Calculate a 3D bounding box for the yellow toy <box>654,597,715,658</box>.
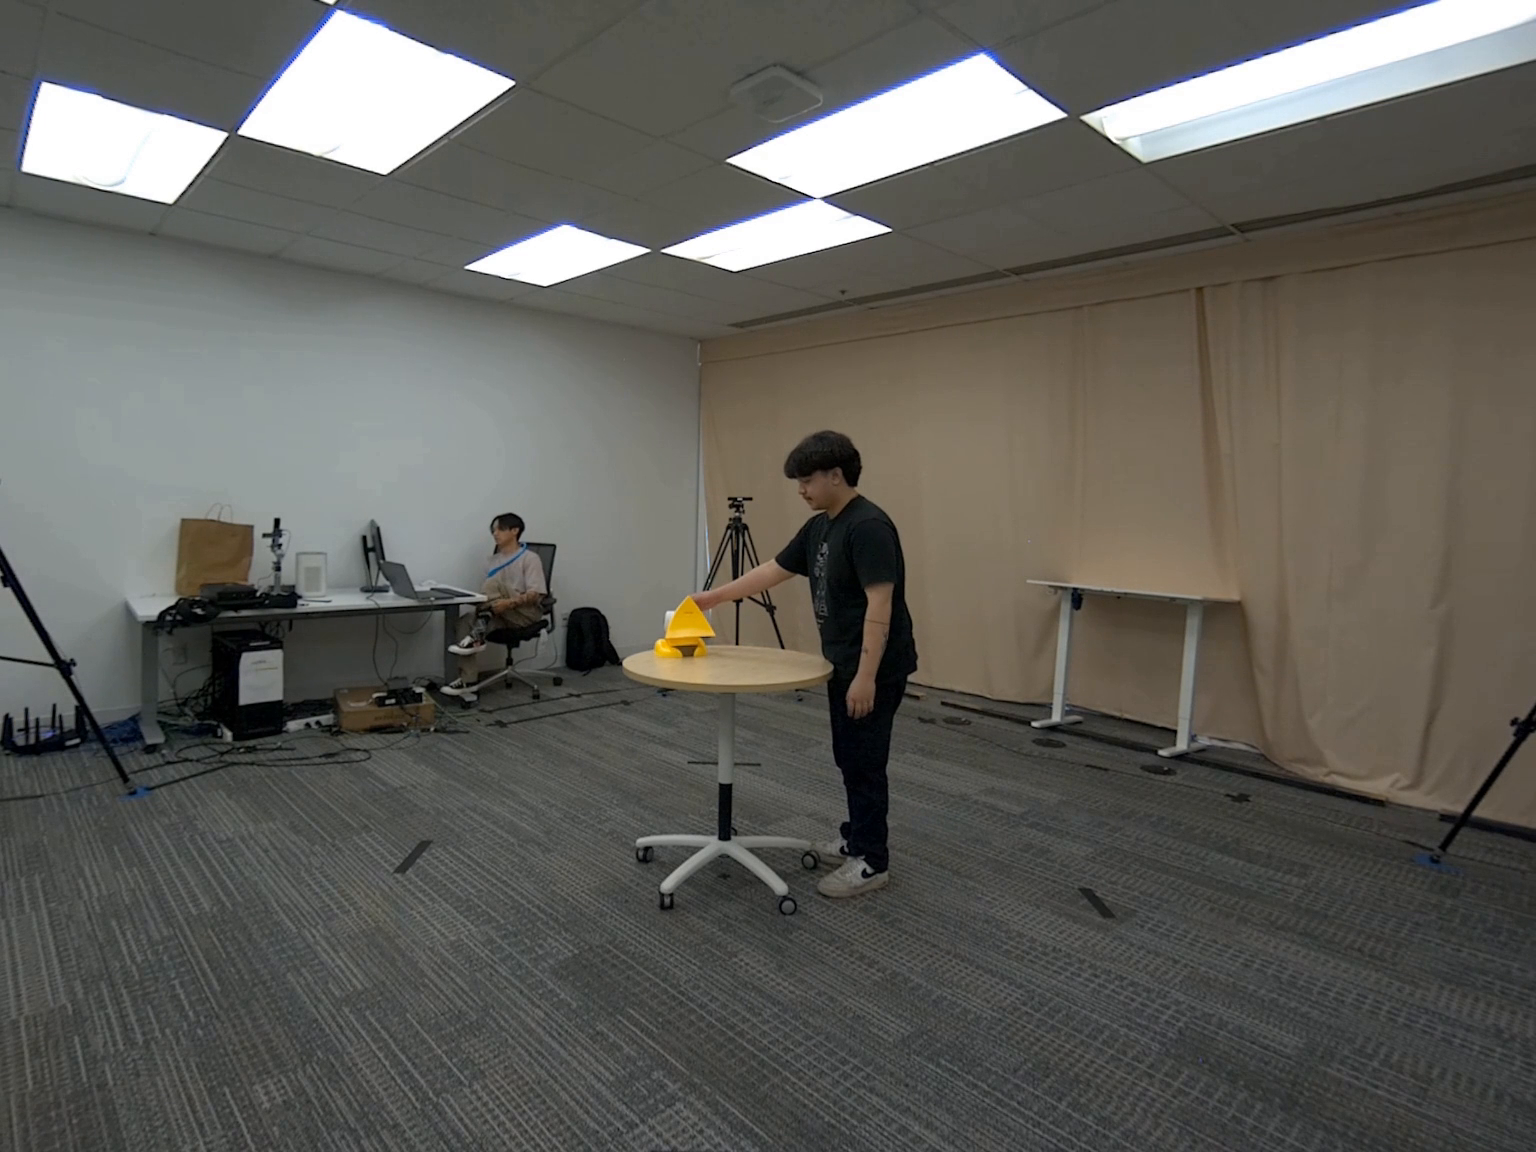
[{"bbox_3d":[-0.336,0.185,3.227,0.201,0.230,0.197,-1,4,-28],"label":"yellow toy"}]
